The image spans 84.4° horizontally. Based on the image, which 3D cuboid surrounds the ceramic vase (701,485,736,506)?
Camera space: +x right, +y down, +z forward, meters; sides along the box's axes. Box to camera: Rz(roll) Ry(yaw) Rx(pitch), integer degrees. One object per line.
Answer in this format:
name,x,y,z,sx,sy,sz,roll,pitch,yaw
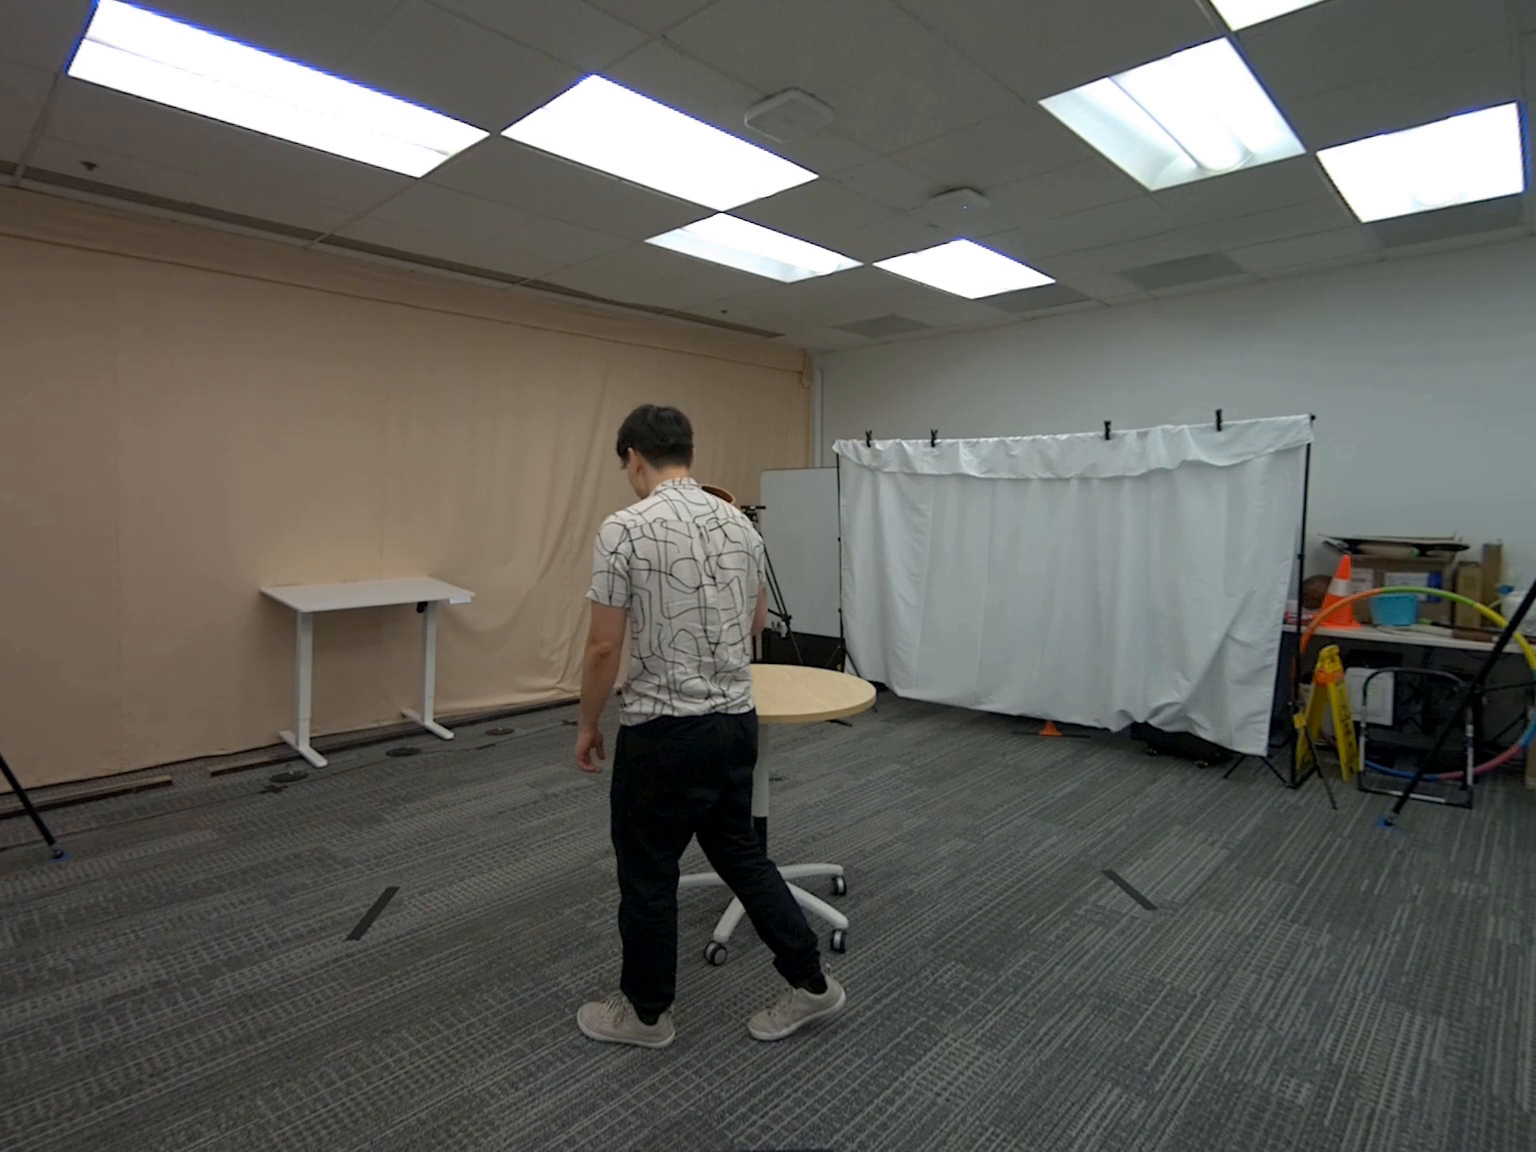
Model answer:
ceramic vase,-0.188,-0.147,2.504,0.136,0.218,0.158,22,25,6
